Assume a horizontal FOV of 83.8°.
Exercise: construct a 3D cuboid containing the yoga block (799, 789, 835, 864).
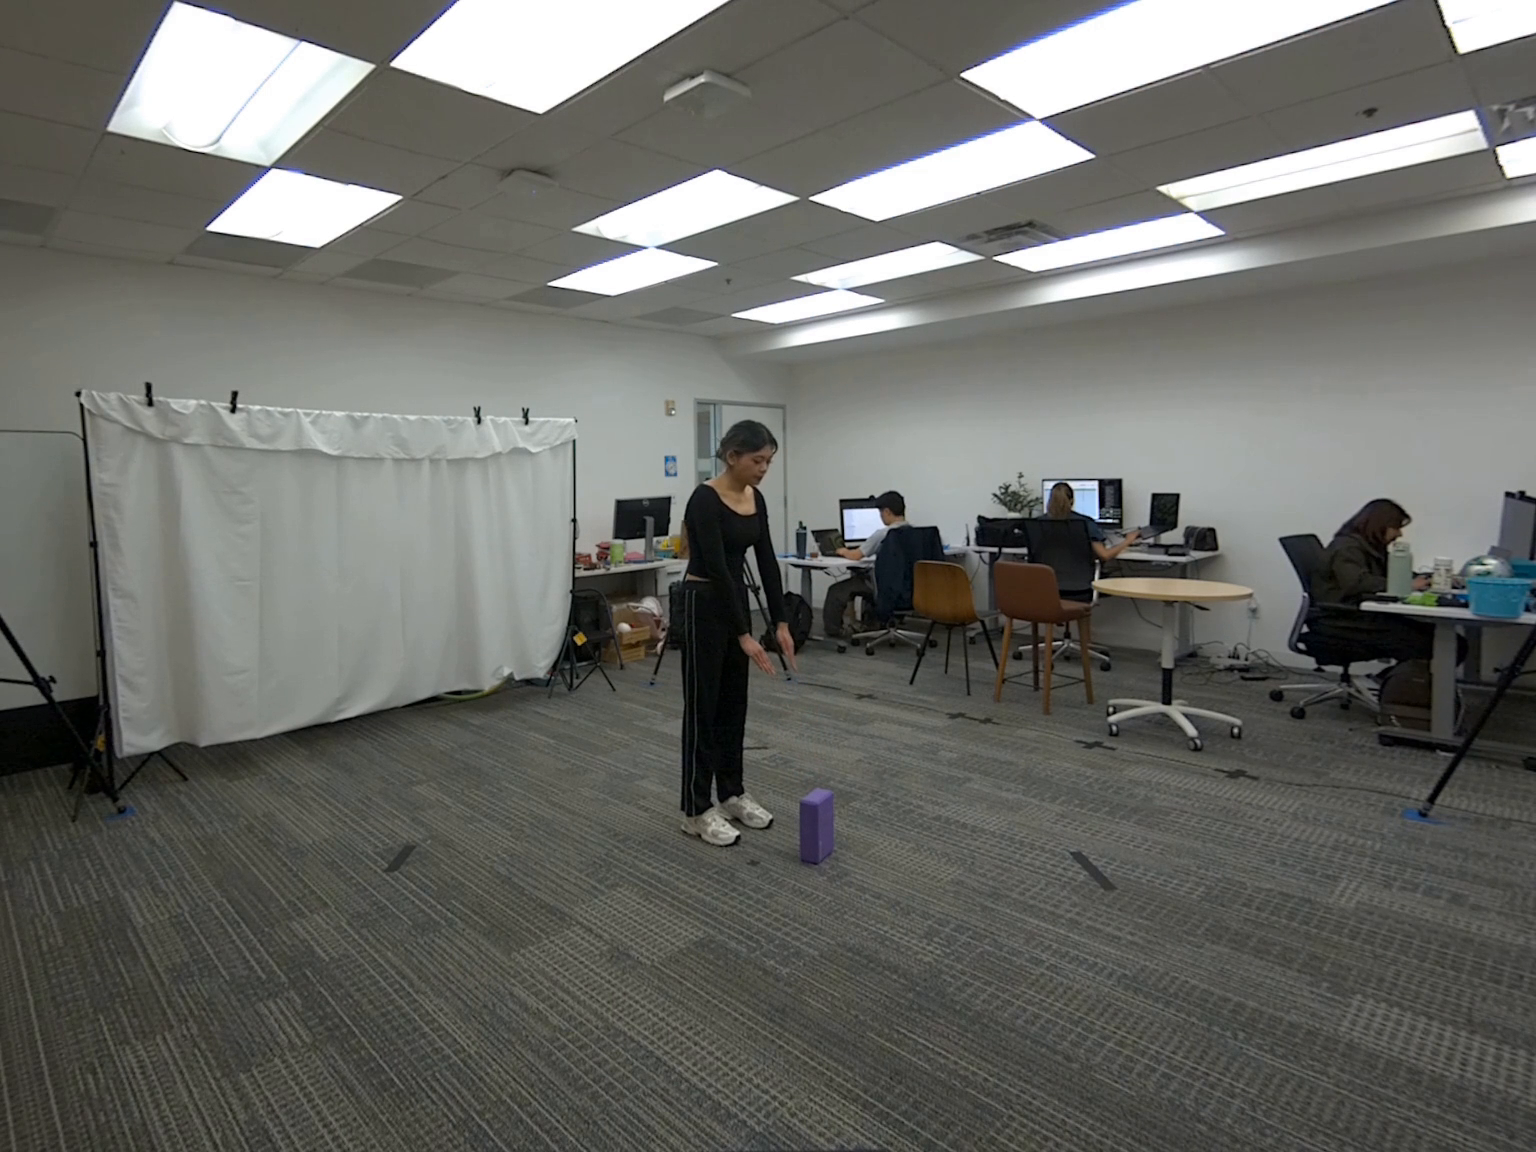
[{"bbox_3d":[0.184,0.919,3.148,0.078,0.229,0.145,1,4,29],"label":"yoga block"}]
